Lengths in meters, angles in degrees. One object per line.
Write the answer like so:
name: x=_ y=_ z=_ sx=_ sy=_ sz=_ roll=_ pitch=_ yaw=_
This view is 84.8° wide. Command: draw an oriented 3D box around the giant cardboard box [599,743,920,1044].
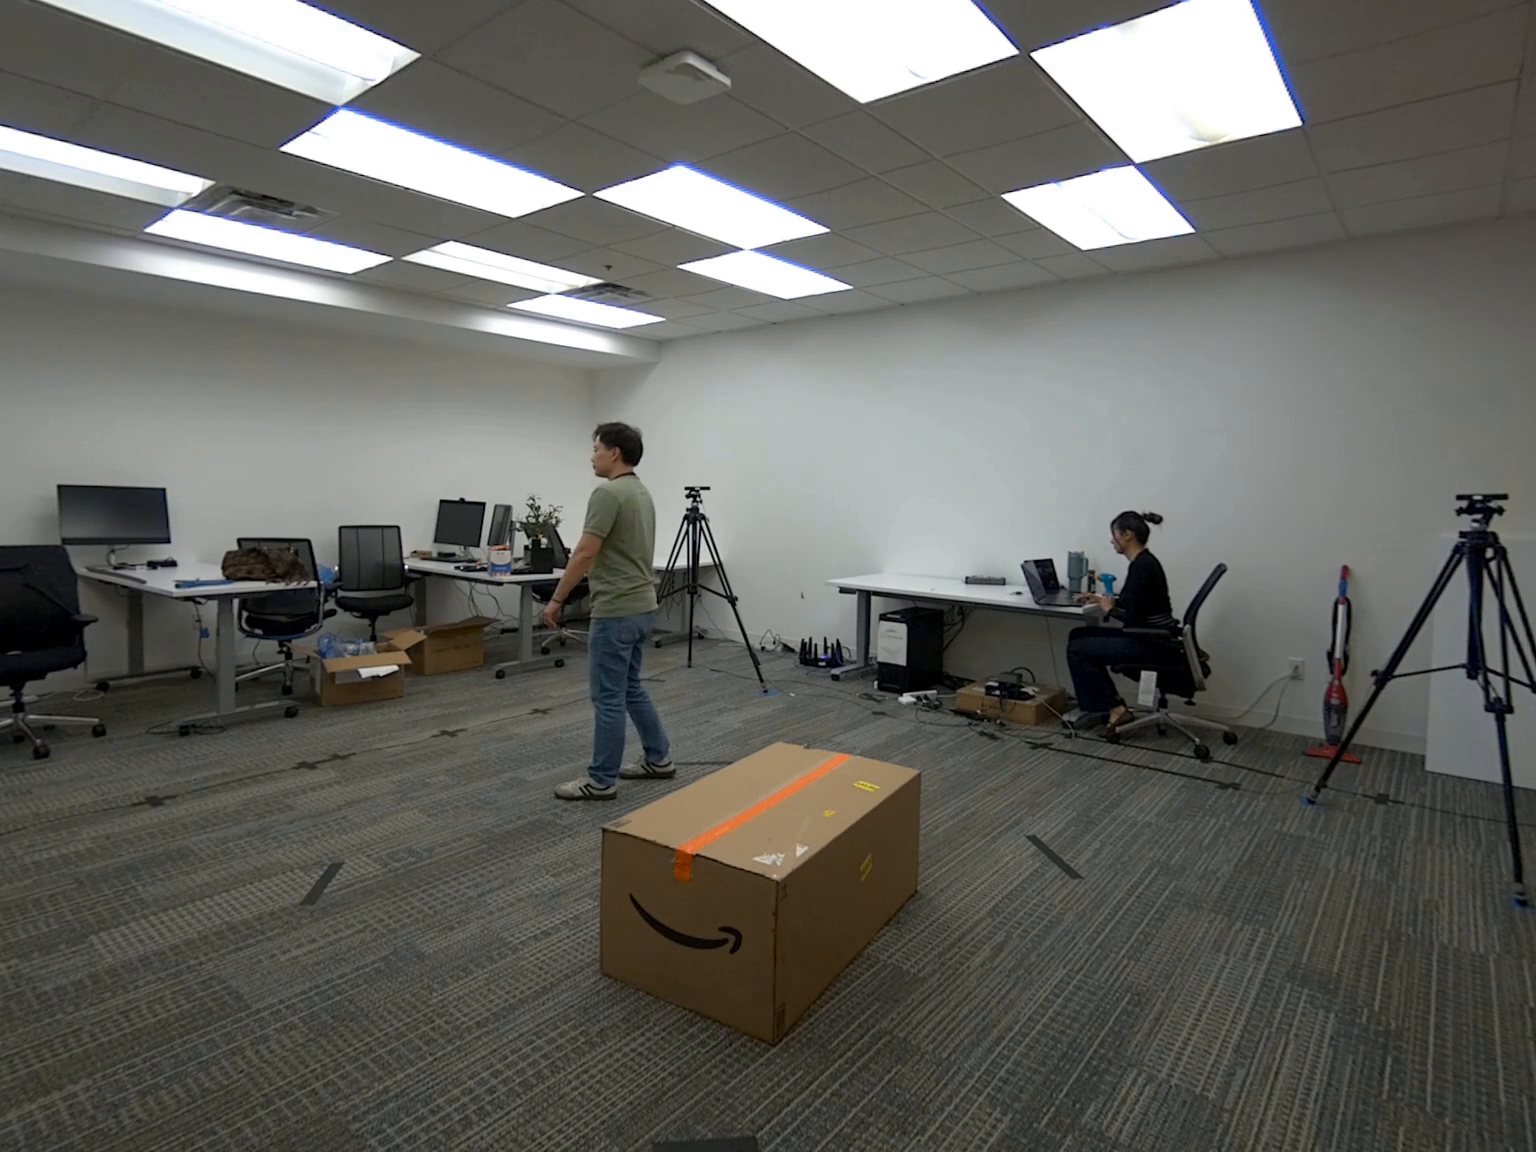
giant cardboard box: x=0.016 y=0.897 z=2.685 sx=0.595 sy=0.424 sz=0.999 roll=5 pitch=6 yaw=31
